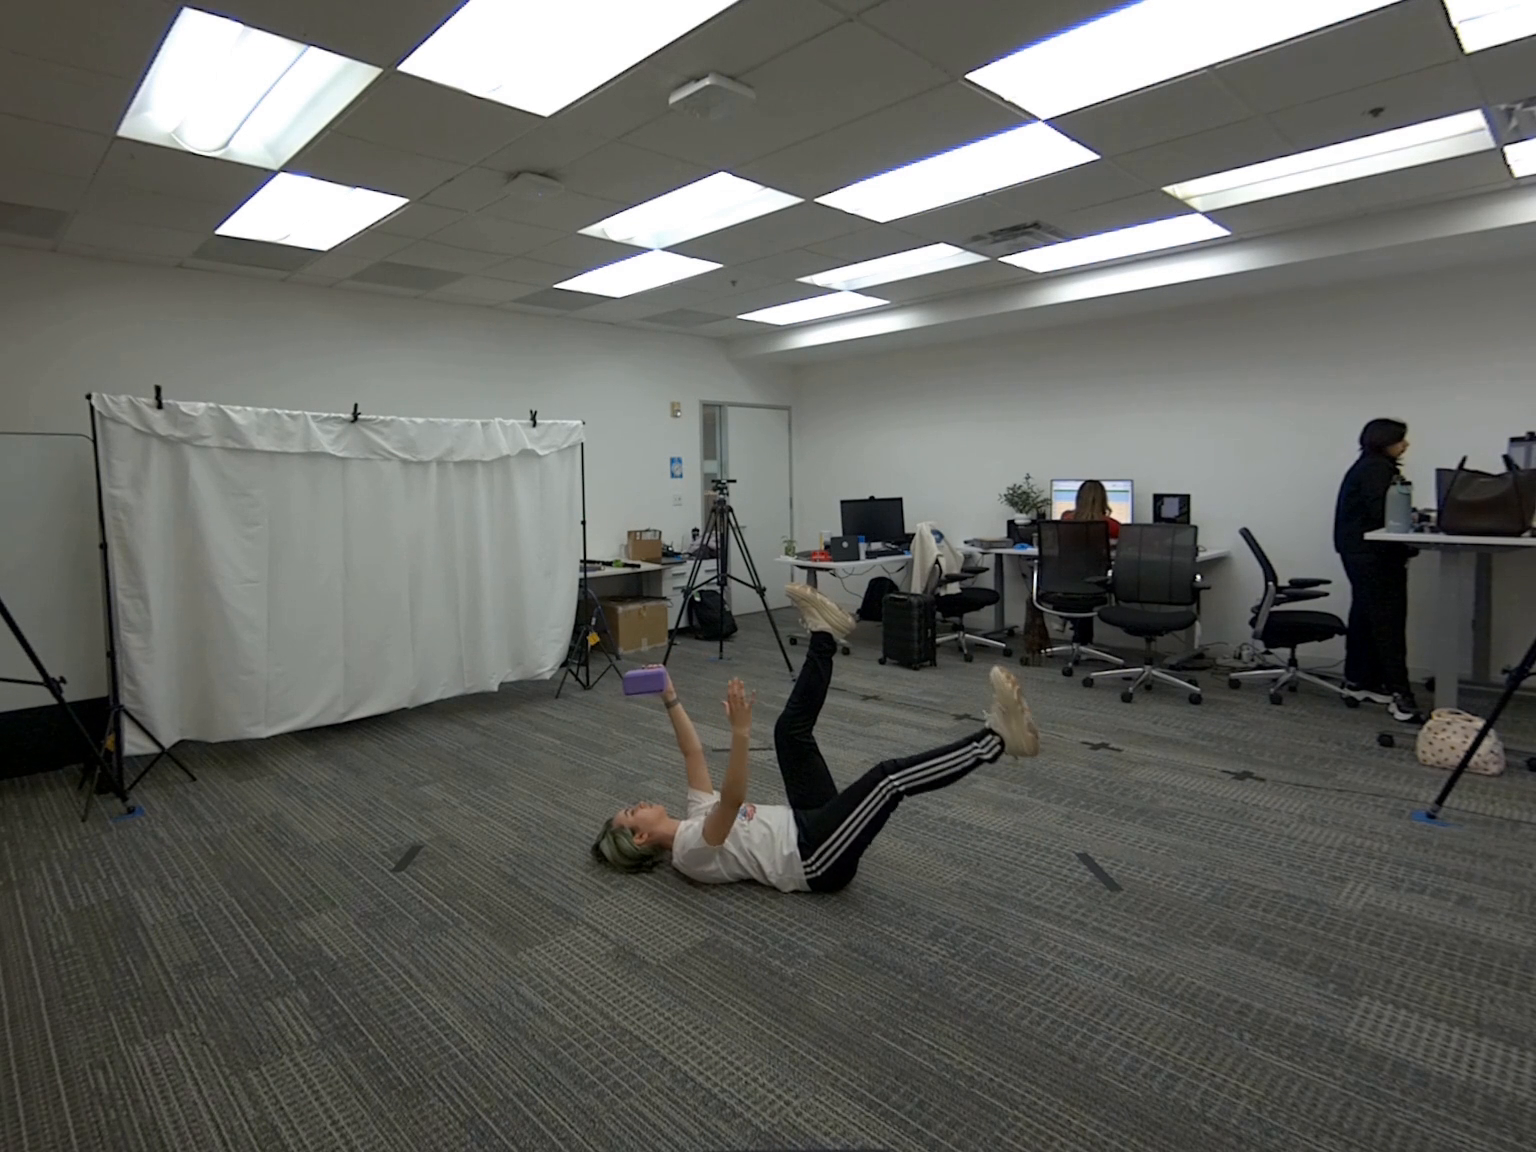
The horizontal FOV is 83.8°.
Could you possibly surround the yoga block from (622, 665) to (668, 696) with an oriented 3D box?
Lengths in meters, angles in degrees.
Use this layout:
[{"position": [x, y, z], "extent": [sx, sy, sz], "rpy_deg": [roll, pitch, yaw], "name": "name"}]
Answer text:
[{"position": [-0.445, 0.384, 3.130], "extent": [0.148, 0.077, 0.229], "rpy_deg": [-5, -2, -4], "name": "yoga block"}]
